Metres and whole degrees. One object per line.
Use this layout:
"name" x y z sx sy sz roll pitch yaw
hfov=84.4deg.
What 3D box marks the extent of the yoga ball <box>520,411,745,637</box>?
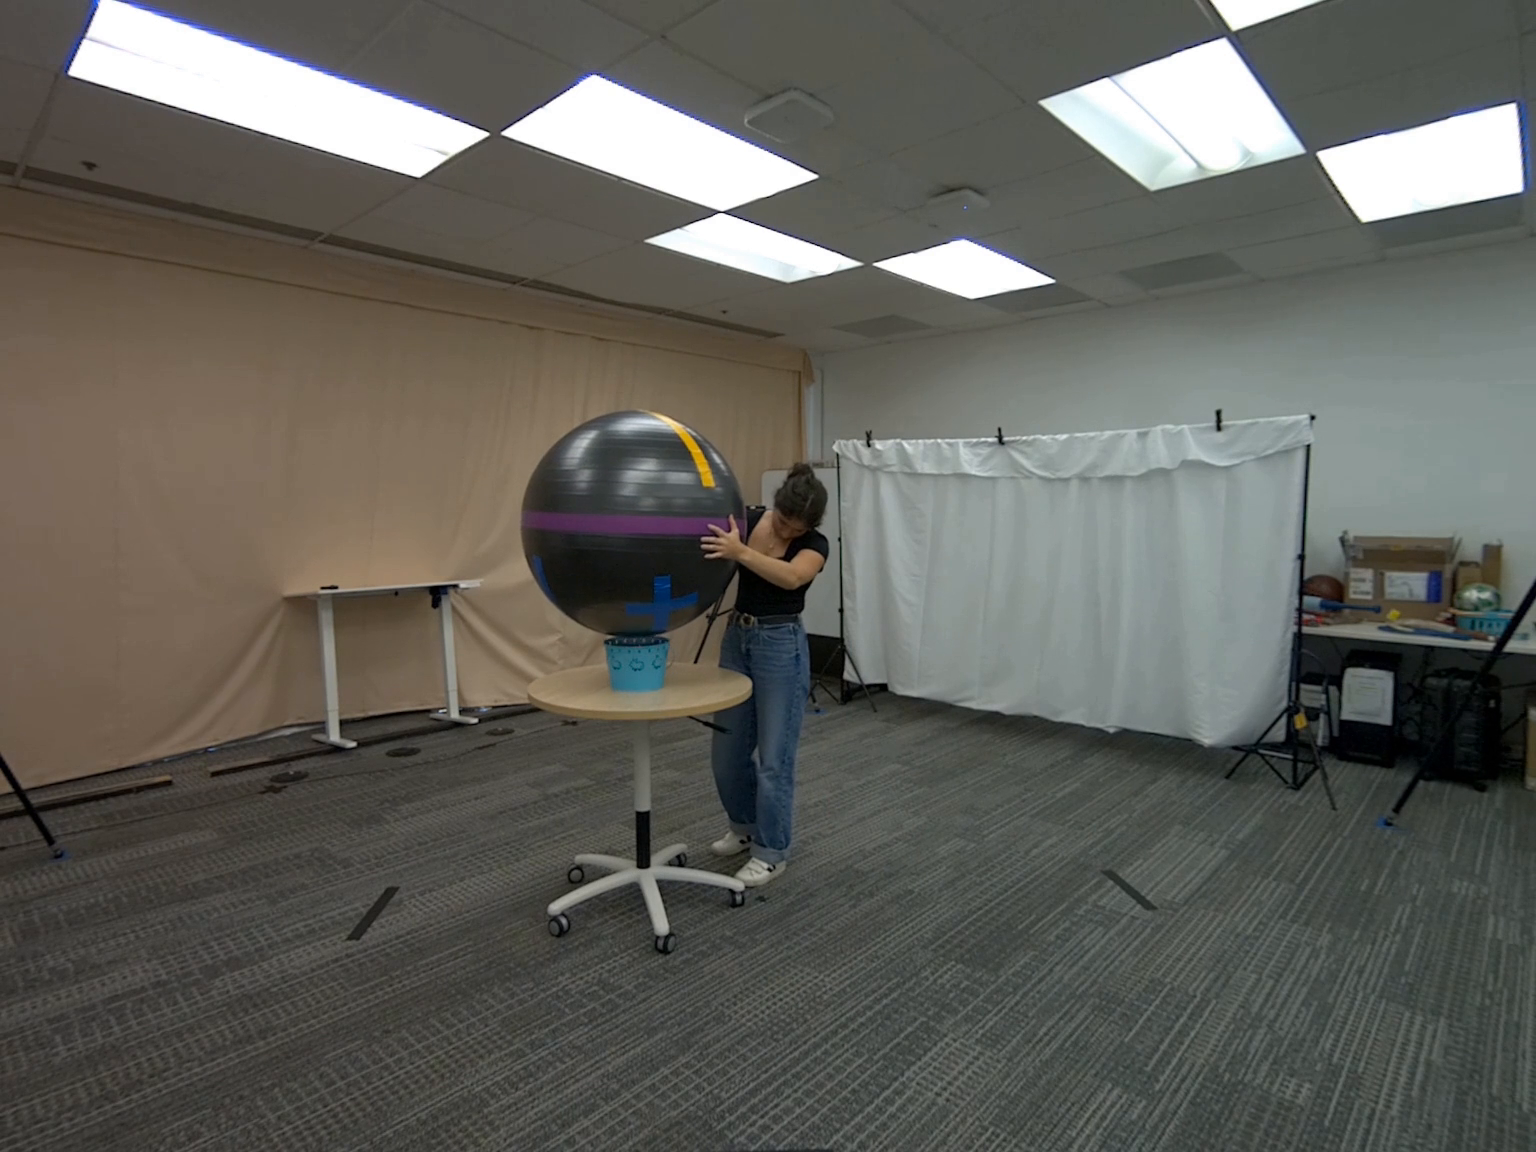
"yoga ball" -0.458 -0.173 2.850 0.757 0.756 0.760 0 4 -2
